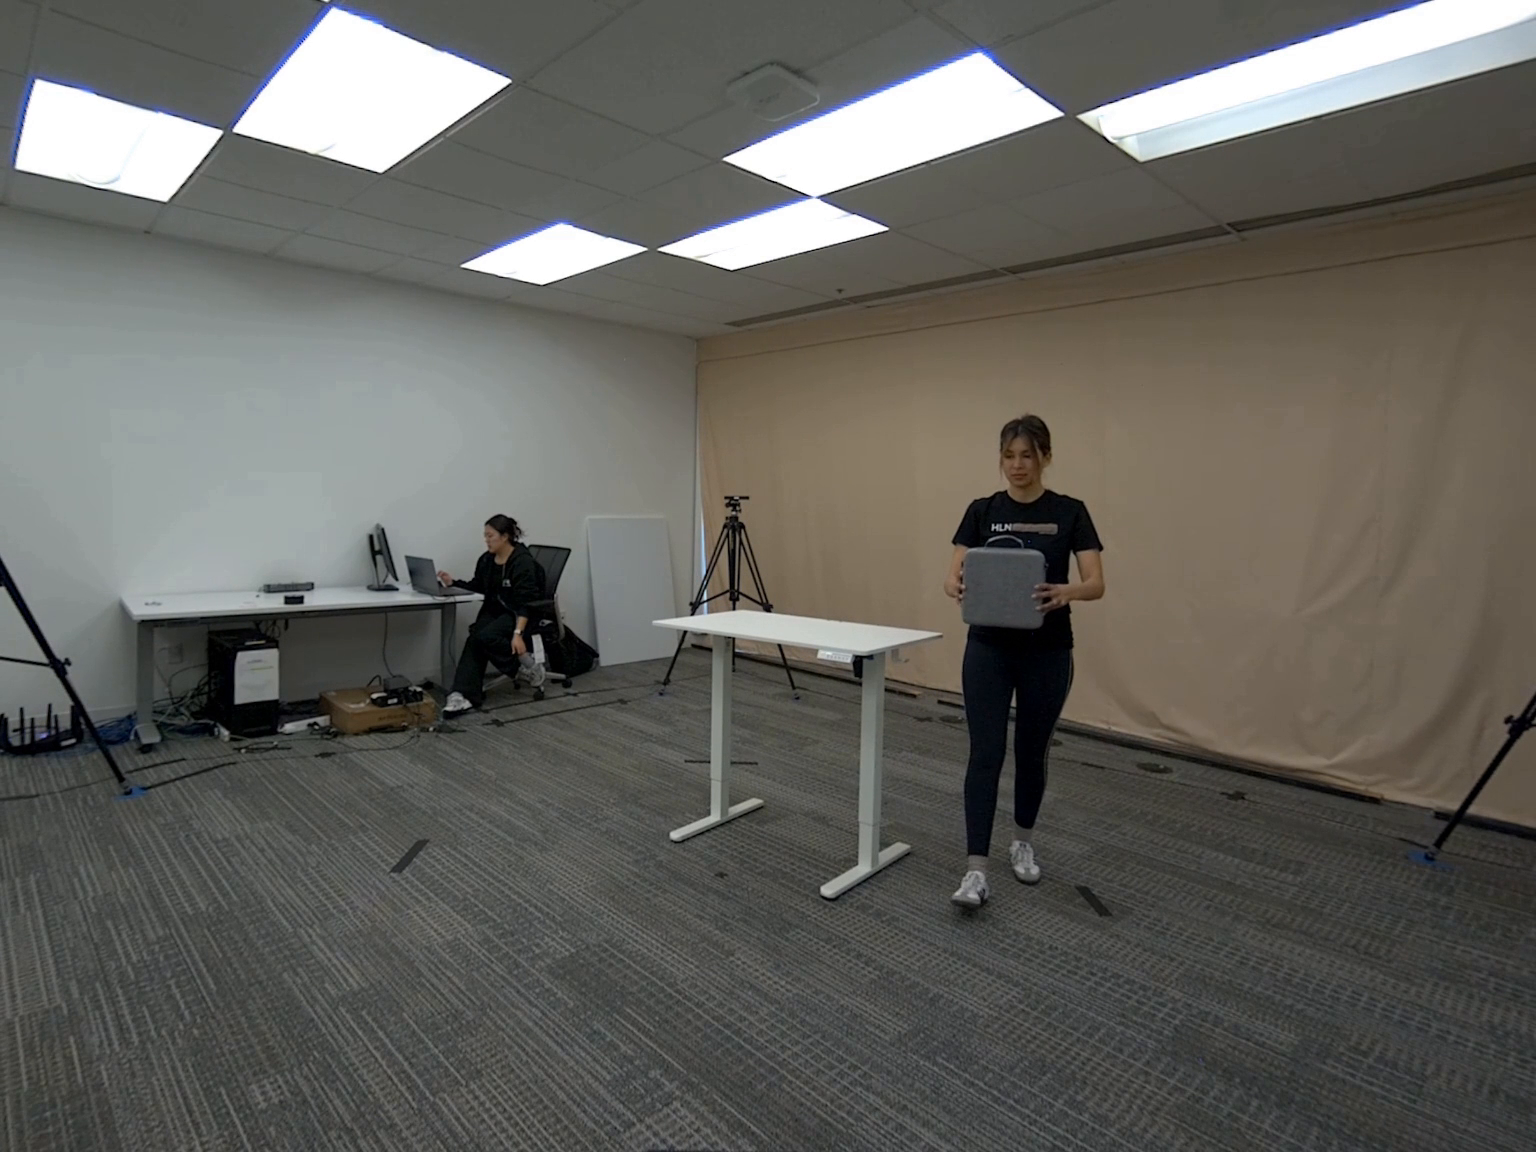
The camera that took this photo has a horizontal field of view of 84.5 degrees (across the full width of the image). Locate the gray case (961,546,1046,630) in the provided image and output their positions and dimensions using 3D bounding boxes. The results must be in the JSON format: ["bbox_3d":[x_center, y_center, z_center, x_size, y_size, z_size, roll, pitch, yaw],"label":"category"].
[{"bbox_3d":[0.759,0.033,2.734,0.261,0.260,0.103,1,2,21],"label":"gray case"}]
